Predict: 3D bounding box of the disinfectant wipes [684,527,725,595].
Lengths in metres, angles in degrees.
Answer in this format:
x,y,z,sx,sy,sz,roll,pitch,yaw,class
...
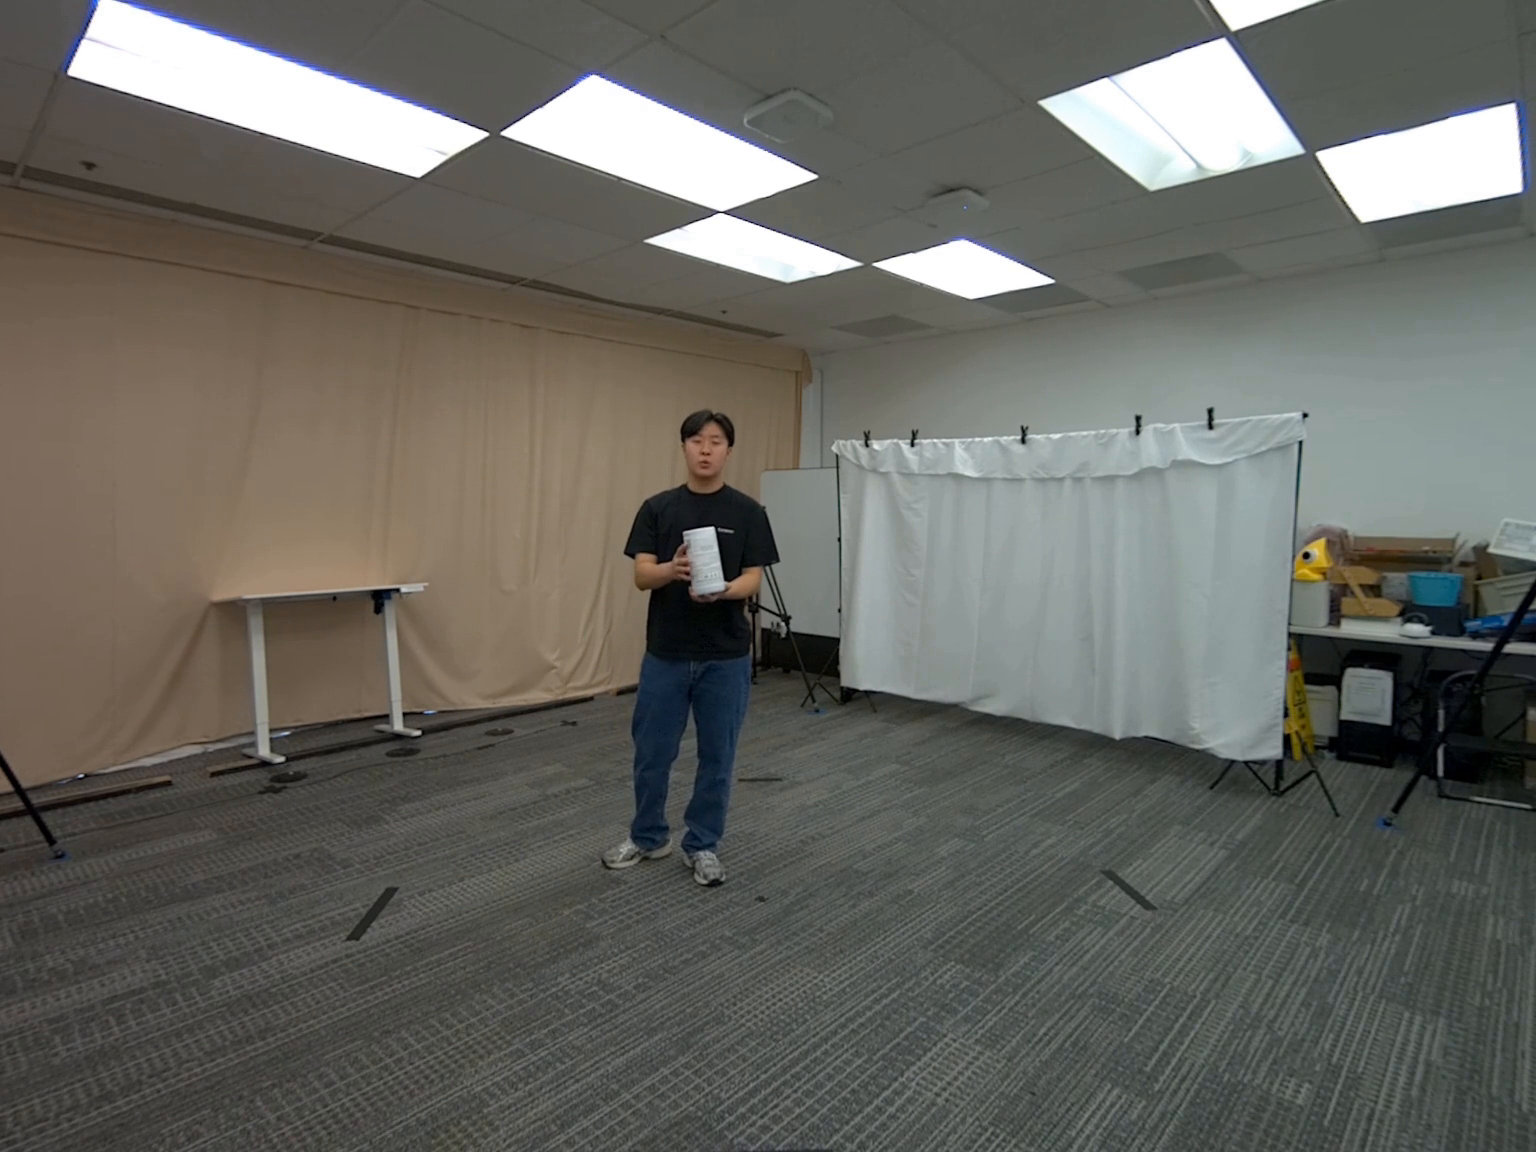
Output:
x,y,z,sx,sy,sz,roll,pitch,yaw,class
-0.216,-0.055,2.790,0.118,0.217,0.118,-8,0,-2,disinfectant wipes
